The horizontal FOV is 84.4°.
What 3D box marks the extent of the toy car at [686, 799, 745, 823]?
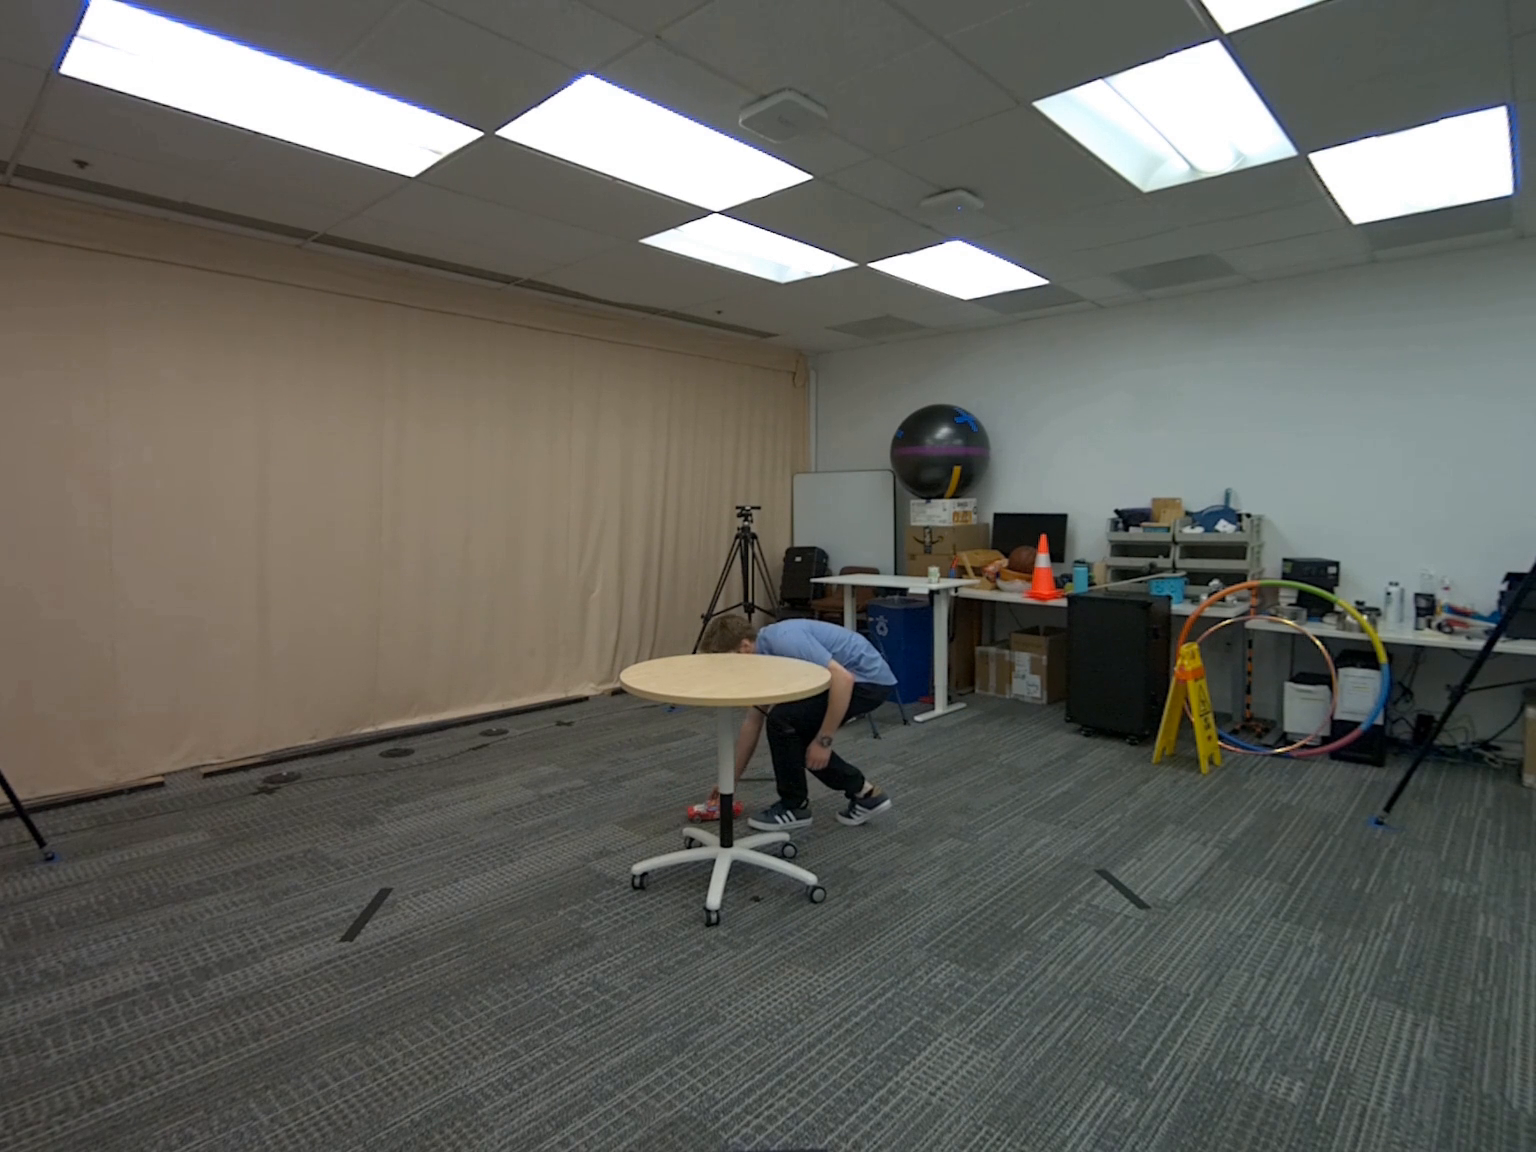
[{"bbox_3d":[-0.232,1.054,3.782,0.252,0.083,0.132,-12,8,-12],"label":"toy car"}]
